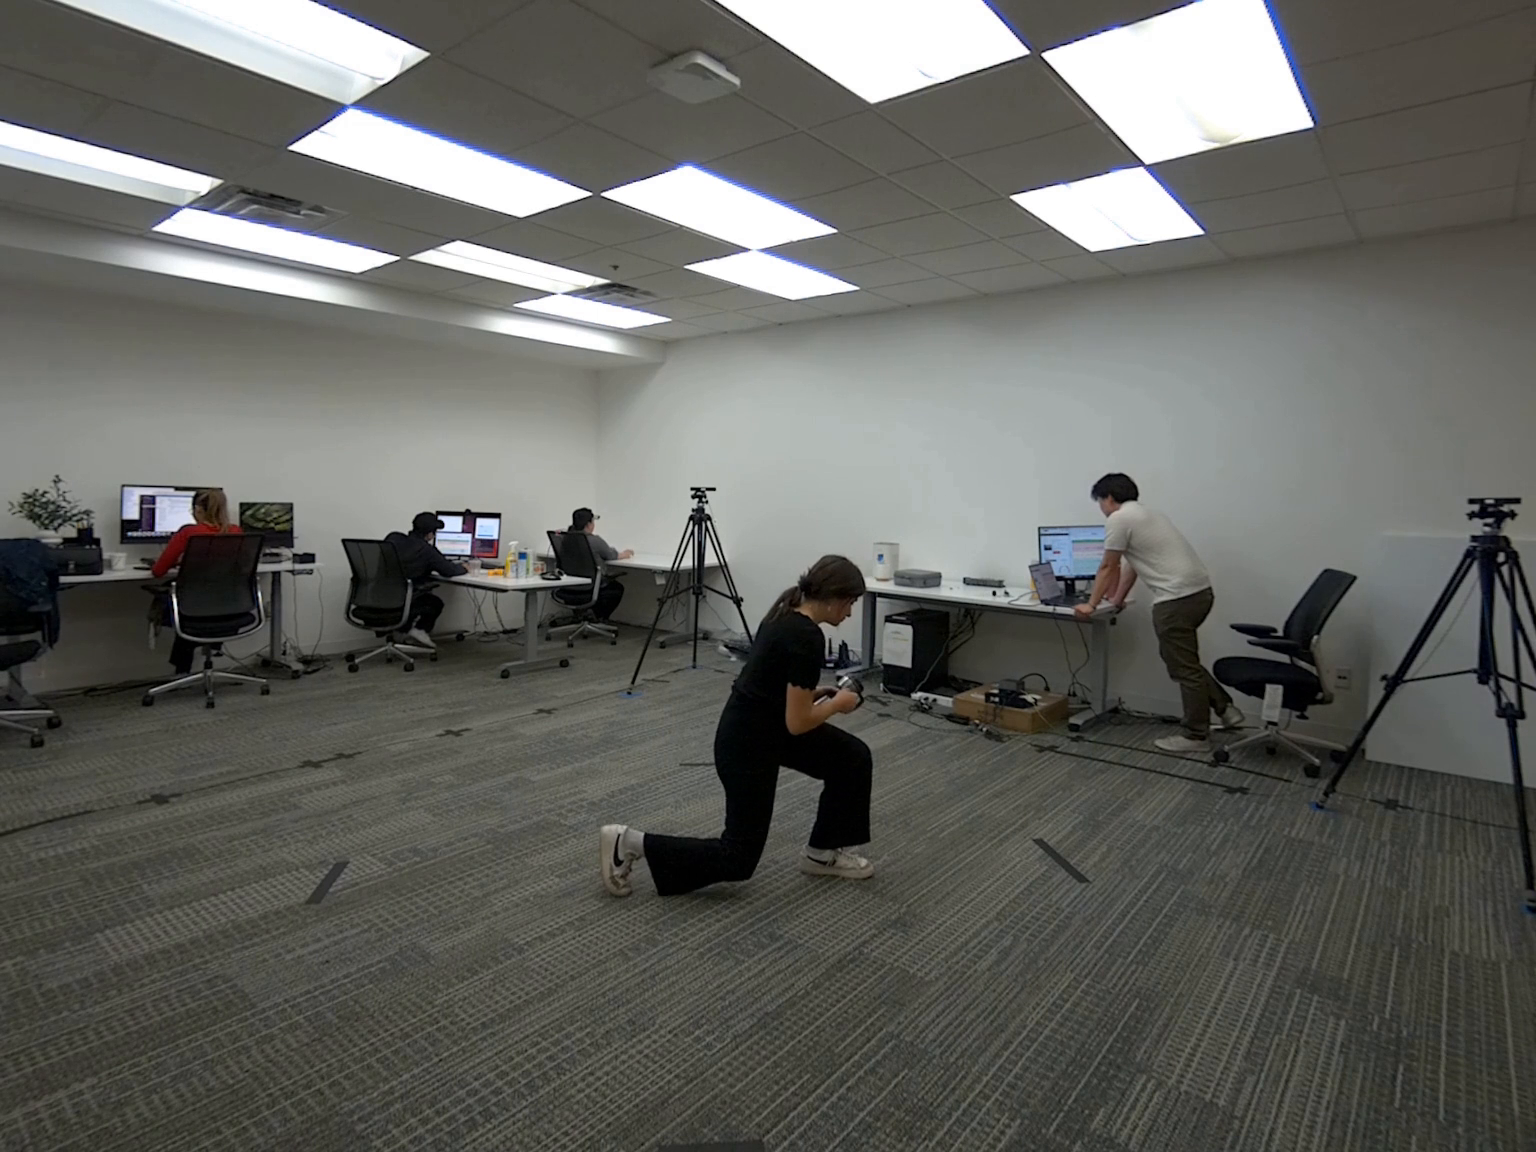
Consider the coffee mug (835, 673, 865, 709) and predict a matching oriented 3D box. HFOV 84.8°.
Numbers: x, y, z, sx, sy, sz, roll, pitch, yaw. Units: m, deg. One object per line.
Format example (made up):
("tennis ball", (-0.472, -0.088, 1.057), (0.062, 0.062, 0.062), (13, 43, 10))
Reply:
("coffee mug", (0.266, 0.468, 3.221), (0.202, 0.085, 0.127), (-35, 51, -16))
